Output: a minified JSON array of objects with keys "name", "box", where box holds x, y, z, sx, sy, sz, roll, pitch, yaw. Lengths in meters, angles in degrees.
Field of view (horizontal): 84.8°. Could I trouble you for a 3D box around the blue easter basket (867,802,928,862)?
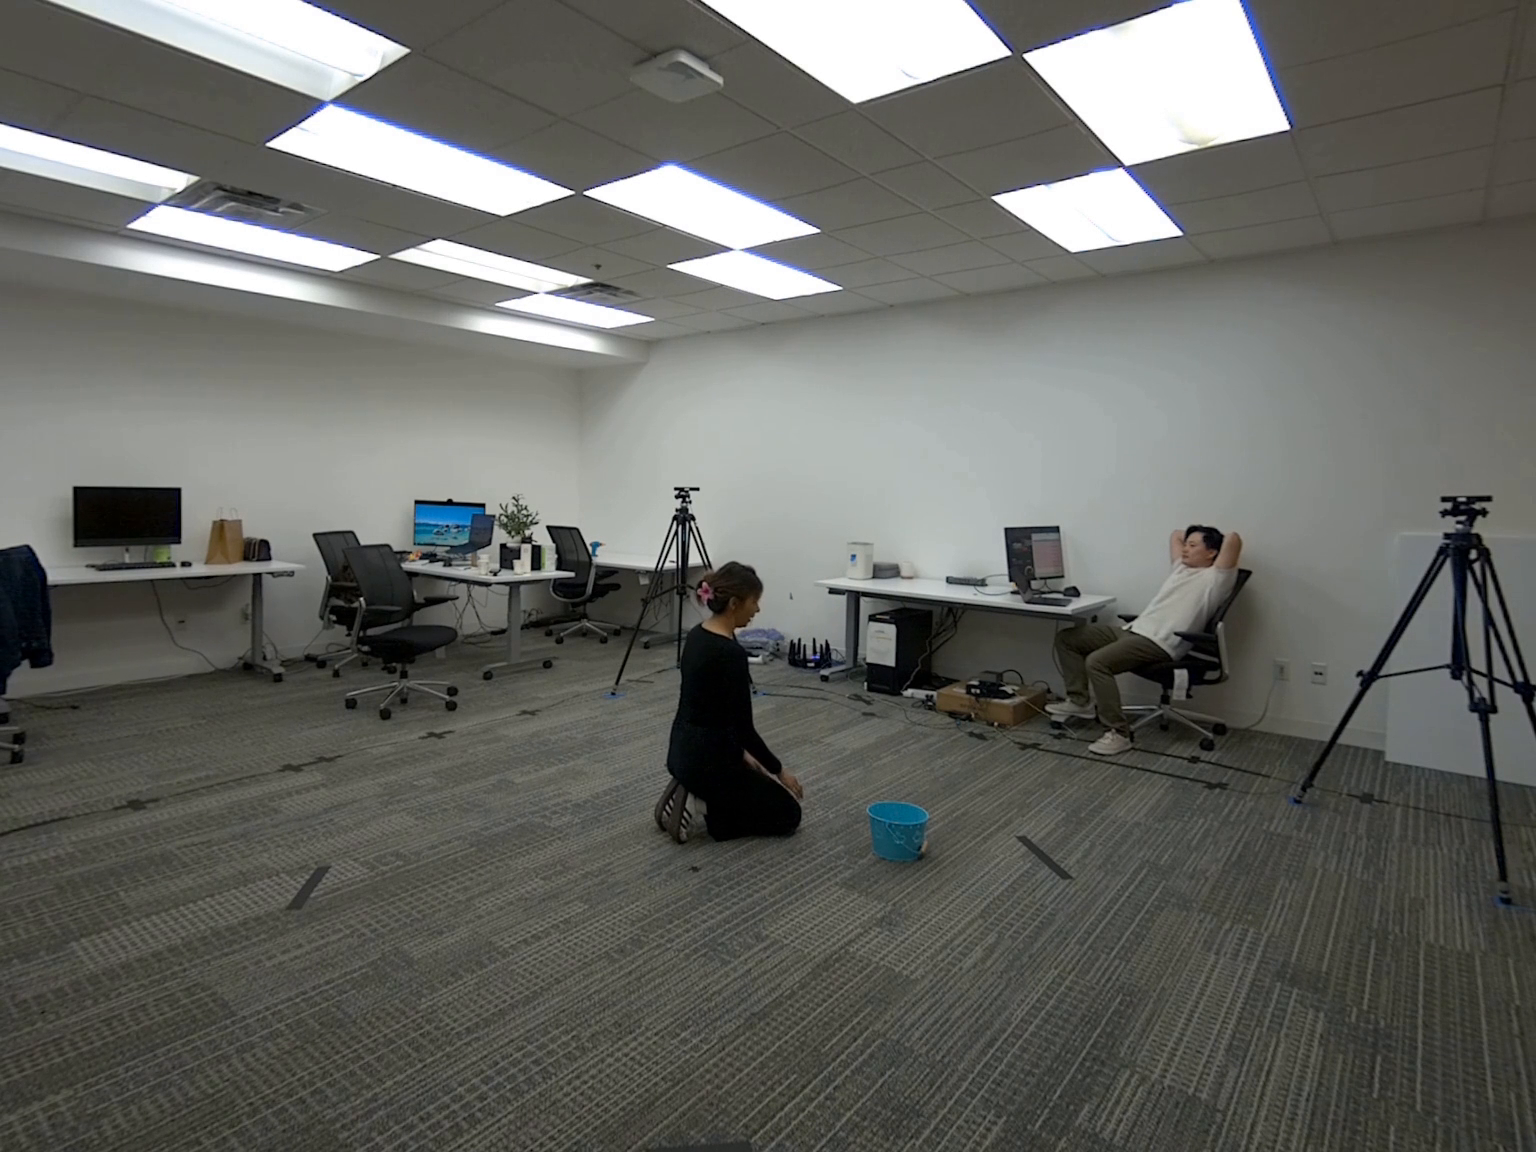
[{"name":"blue easter basket","box":[0.494,0.986,3.291,0.243,0.155,0.245,1,5,-2]}]
